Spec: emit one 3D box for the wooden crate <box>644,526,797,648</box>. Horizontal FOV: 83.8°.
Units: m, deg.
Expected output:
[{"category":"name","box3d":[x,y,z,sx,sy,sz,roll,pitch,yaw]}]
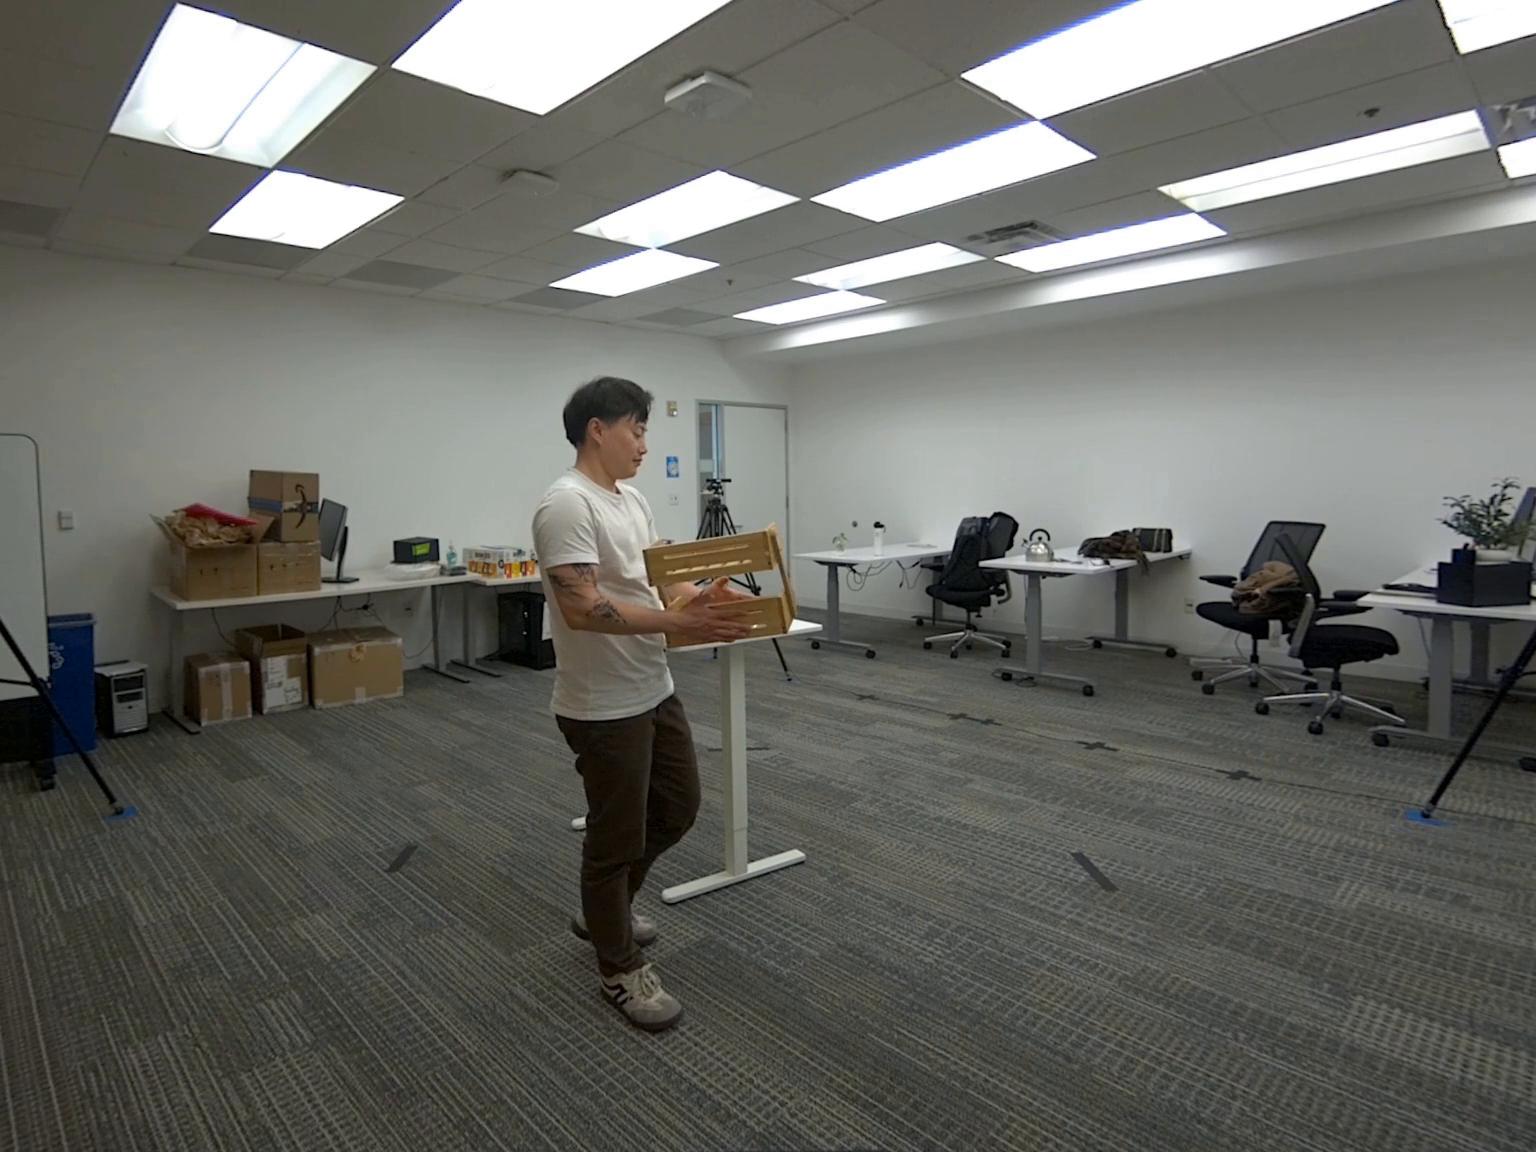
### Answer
[{"category":"wooden crate","box3d":[-0.109,0.007,2.164,0.327,0.271,0.302,-8,9,11]}]
